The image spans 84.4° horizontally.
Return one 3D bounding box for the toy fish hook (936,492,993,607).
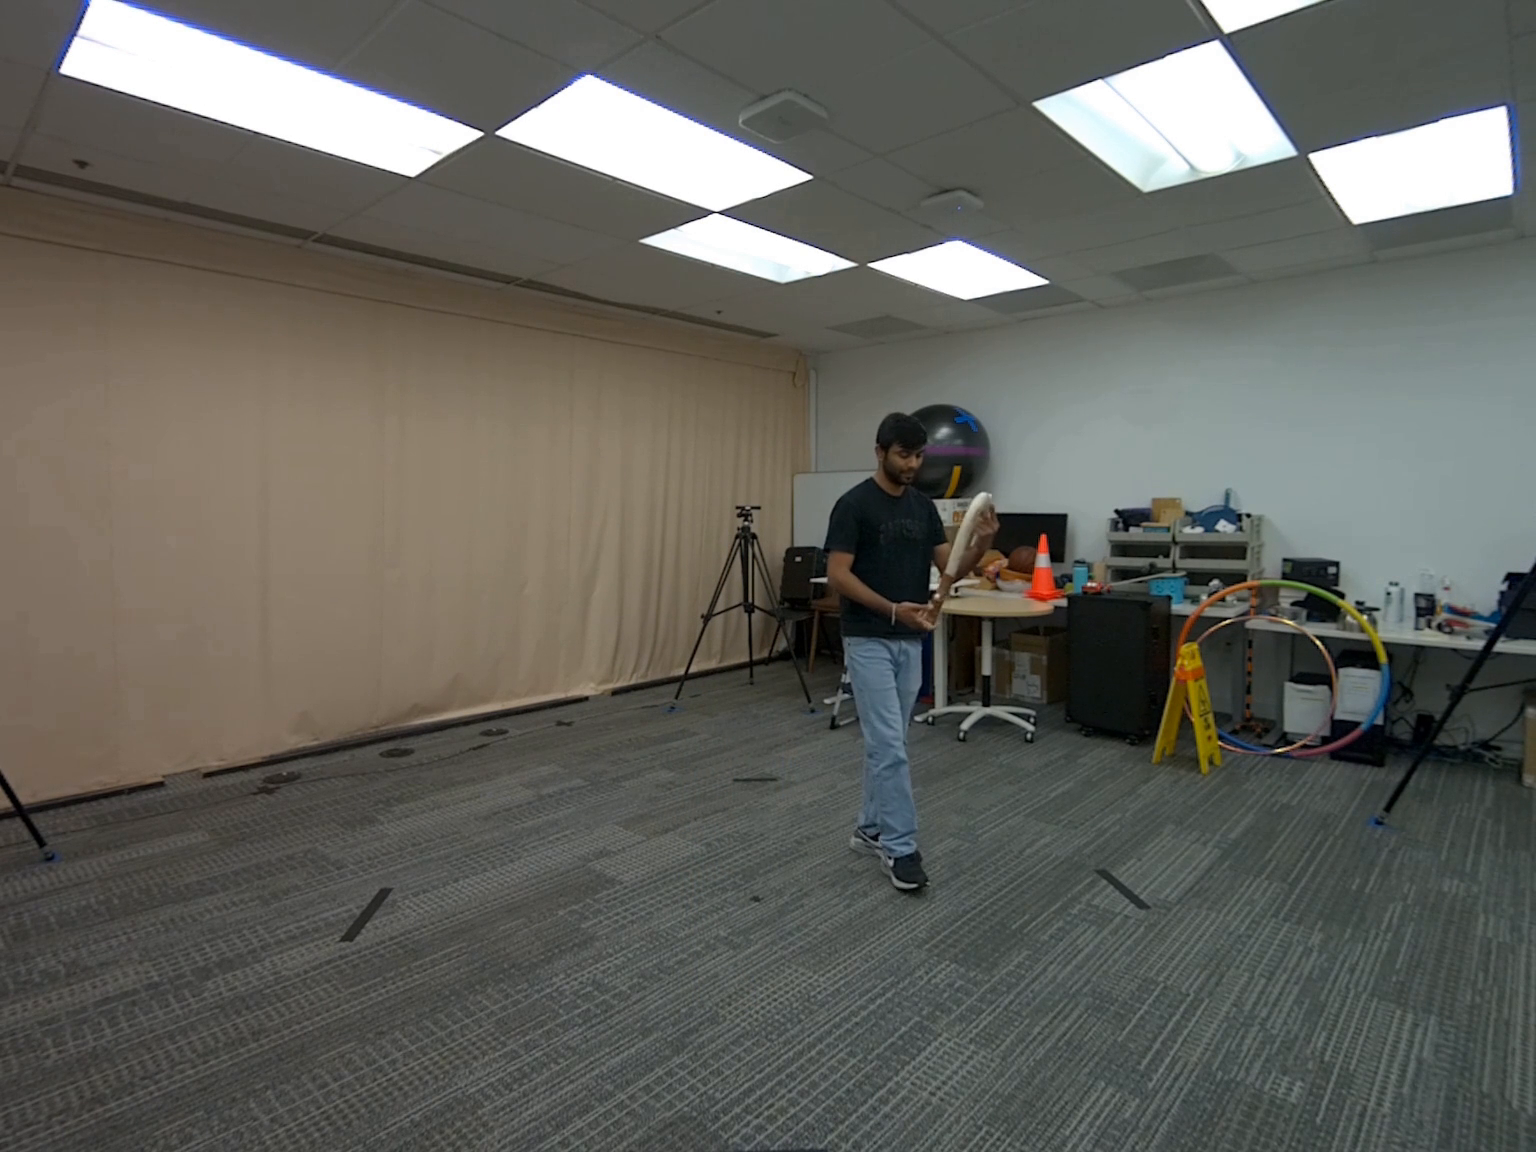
[{"bbox_3d":[0.678,-0.049,2.981,0.050,0.505,0.217,26,10,32],"label":"toy fish hook"}]
